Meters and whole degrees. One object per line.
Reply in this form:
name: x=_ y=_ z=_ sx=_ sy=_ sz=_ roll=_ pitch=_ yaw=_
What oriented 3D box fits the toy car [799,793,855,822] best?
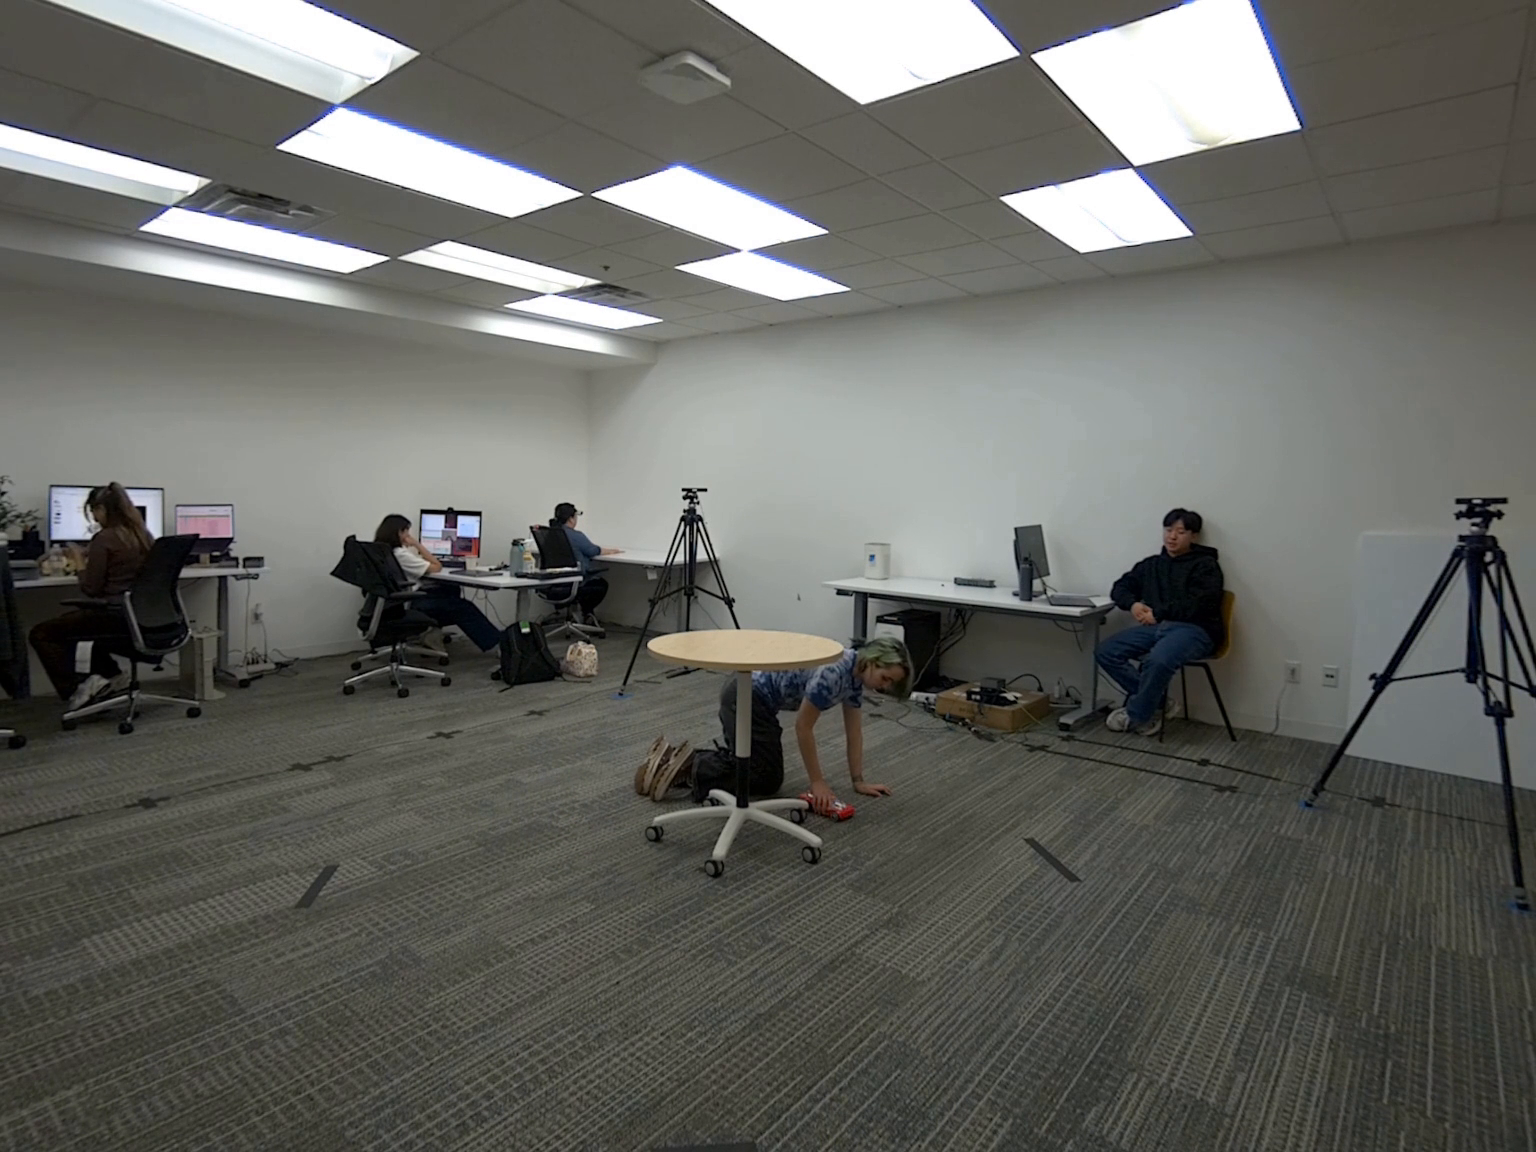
toy car: x=0.244 y=0.995 z=3.702 sx=0.126 sy=0.082 sz=0.265 roll=-2 pitch=15 yaw=-45
